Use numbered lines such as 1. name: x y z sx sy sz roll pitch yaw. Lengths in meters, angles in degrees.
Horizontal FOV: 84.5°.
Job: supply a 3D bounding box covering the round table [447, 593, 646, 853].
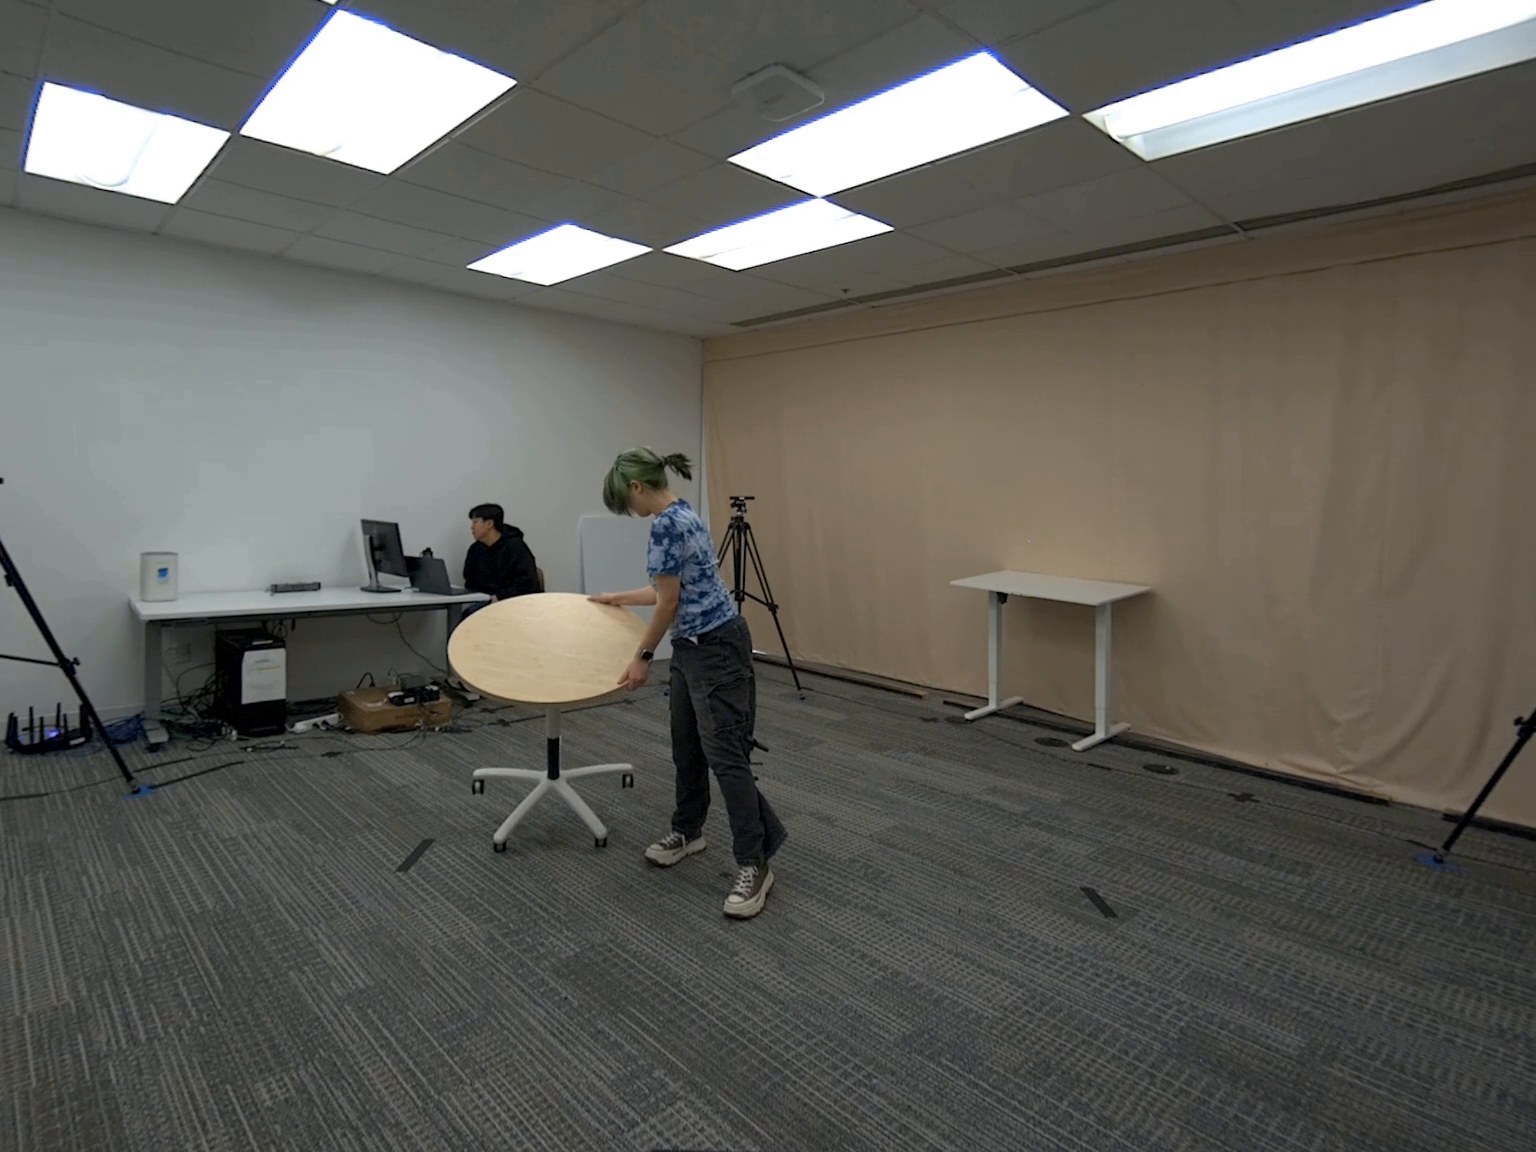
1. round table: -0.871 0.601 3.374 0.762 0.782 0.777 4 26 -3
